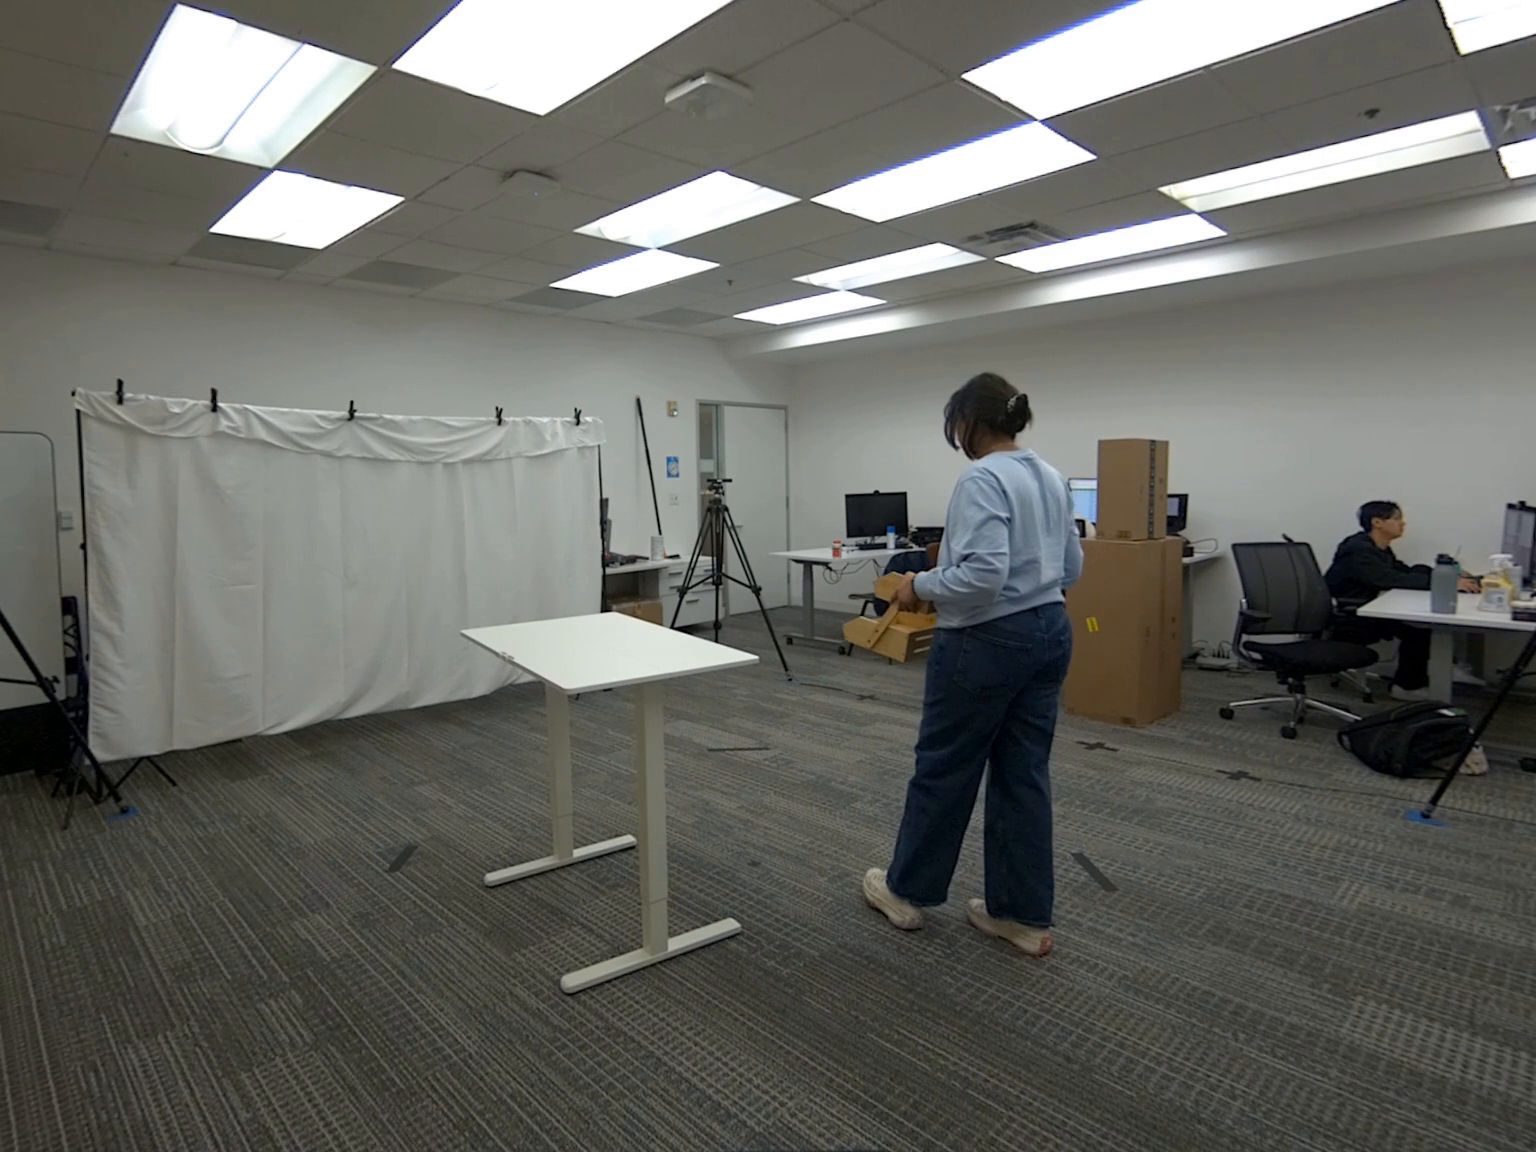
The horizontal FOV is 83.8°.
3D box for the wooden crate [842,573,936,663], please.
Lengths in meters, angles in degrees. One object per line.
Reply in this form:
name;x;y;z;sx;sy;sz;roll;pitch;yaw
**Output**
wooden crate;0.463;0.092;2.758;0.316;0.270;0.313;-7;18;-43
